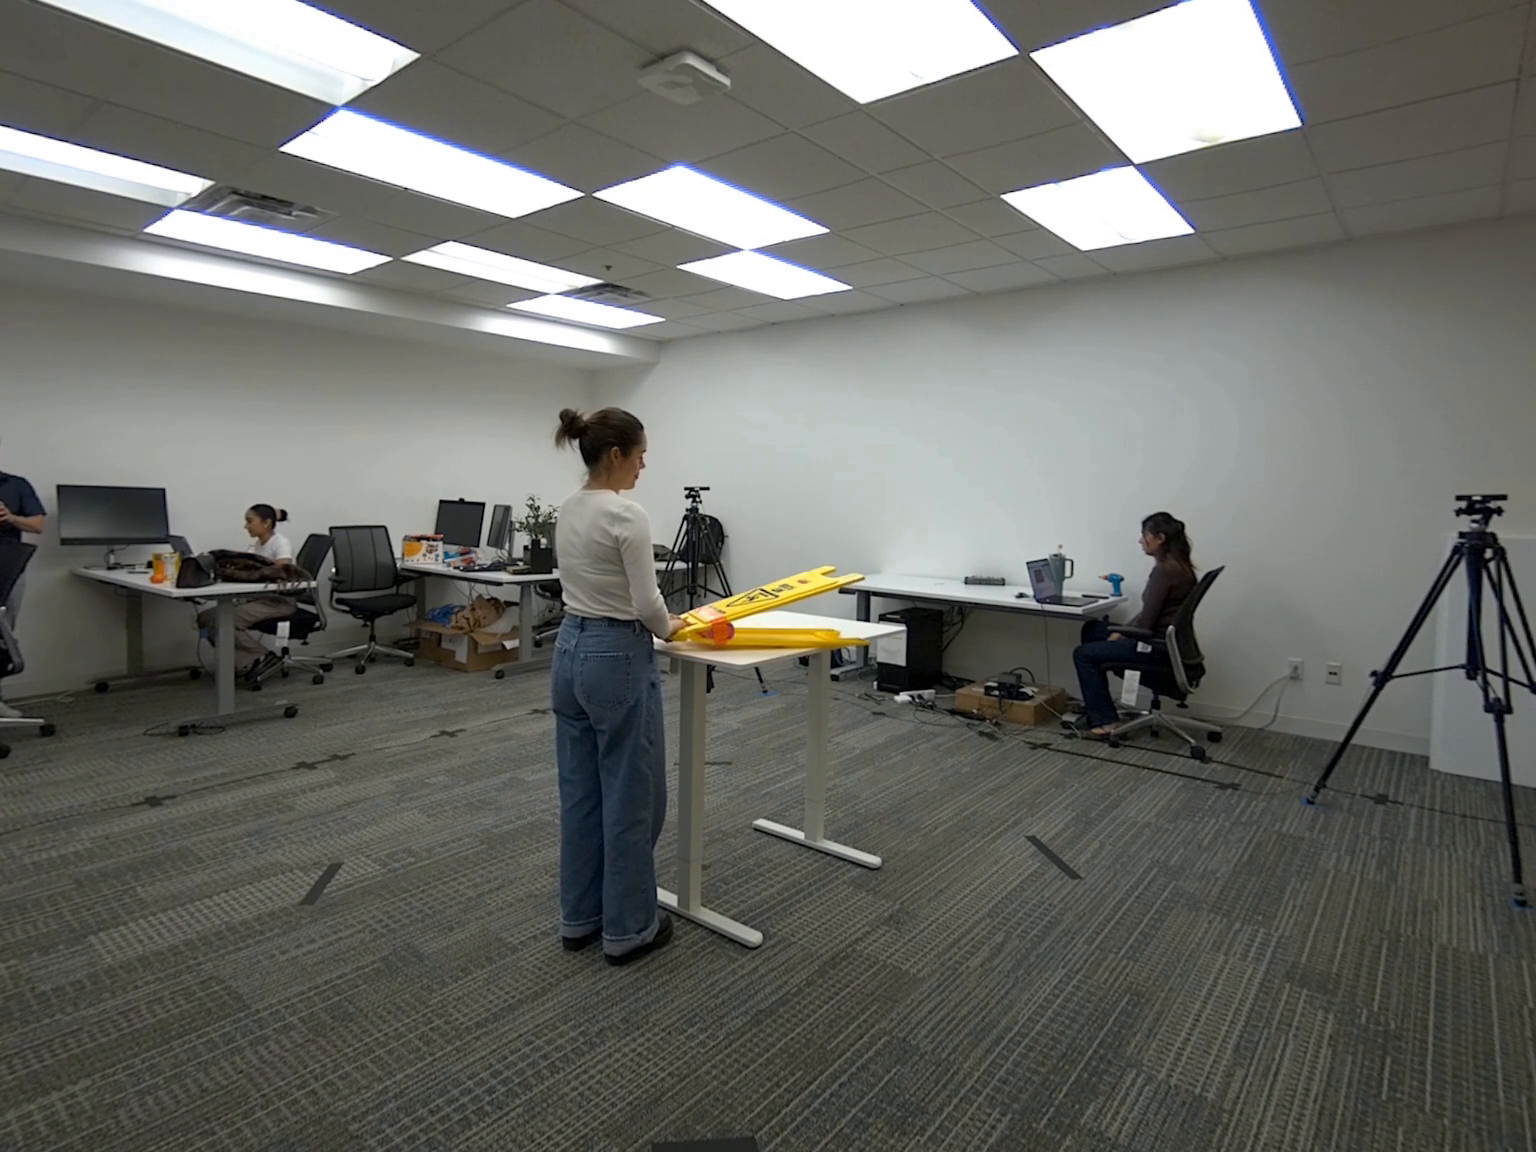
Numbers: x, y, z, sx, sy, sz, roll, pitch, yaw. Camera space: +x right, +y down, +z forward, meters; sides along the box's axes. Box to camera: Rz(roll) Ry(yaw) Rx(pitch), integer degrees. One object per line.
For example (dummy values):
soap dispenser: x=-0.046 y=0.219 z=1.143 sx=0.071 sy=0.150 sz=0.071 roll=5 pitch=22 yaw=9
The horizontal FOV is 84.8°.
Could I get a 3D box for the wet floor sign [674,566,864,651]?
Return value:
wet floor sign: x=-0.040 y=0.146 z=2.802 sx=0.635 sy=0.287 sz=0.289 roll=-8 pitch=9 yaw=-19
